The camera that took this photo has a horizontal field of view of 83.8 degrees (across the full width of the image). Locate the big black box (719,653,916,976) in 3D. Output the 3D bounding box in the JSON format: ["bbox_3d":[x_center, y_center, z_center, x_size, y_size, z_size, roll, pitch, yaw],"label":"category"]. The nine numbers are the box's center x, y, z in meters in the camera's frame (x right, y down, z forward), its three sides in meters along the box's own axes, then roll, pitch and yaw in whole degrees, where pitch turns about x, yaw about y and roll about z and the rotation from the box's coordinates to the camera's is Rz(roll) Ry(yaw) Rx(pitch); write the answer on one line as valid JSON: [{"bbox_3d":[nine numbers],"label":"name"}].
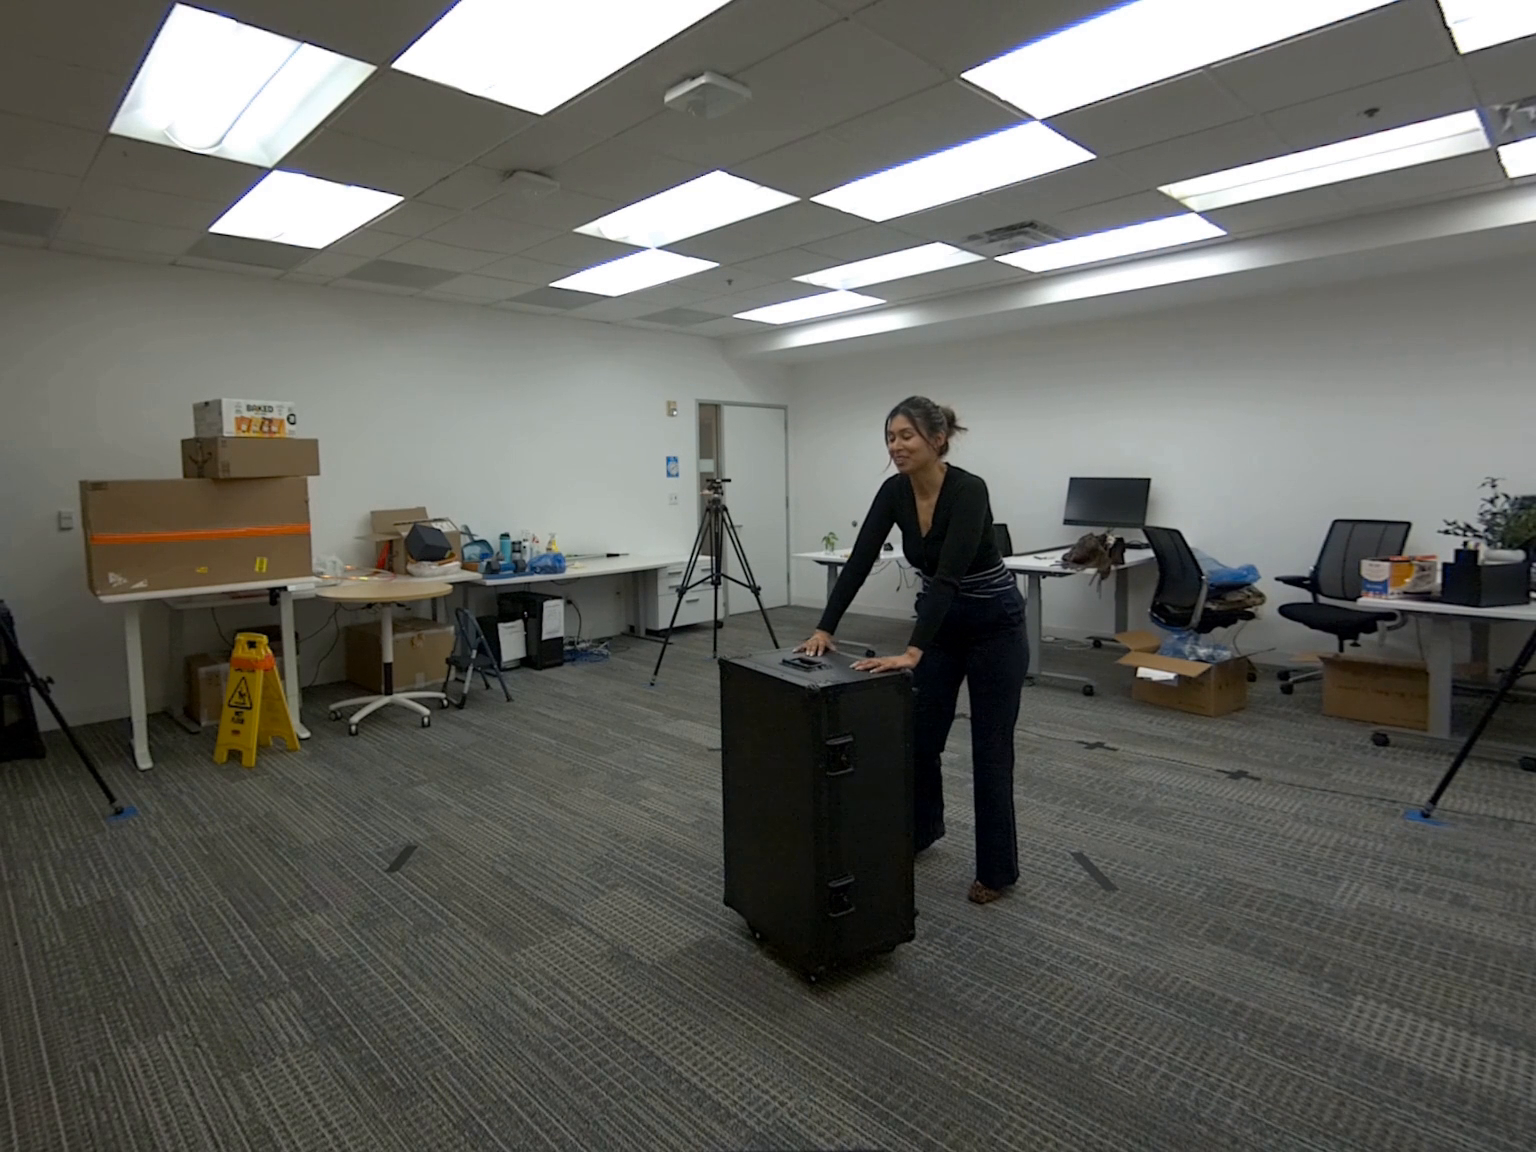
[{"bbox_3d":[0.144,0.679,2.547,0.386,0.859,0.536,-3,5,-32],"label":"big black box"}]
